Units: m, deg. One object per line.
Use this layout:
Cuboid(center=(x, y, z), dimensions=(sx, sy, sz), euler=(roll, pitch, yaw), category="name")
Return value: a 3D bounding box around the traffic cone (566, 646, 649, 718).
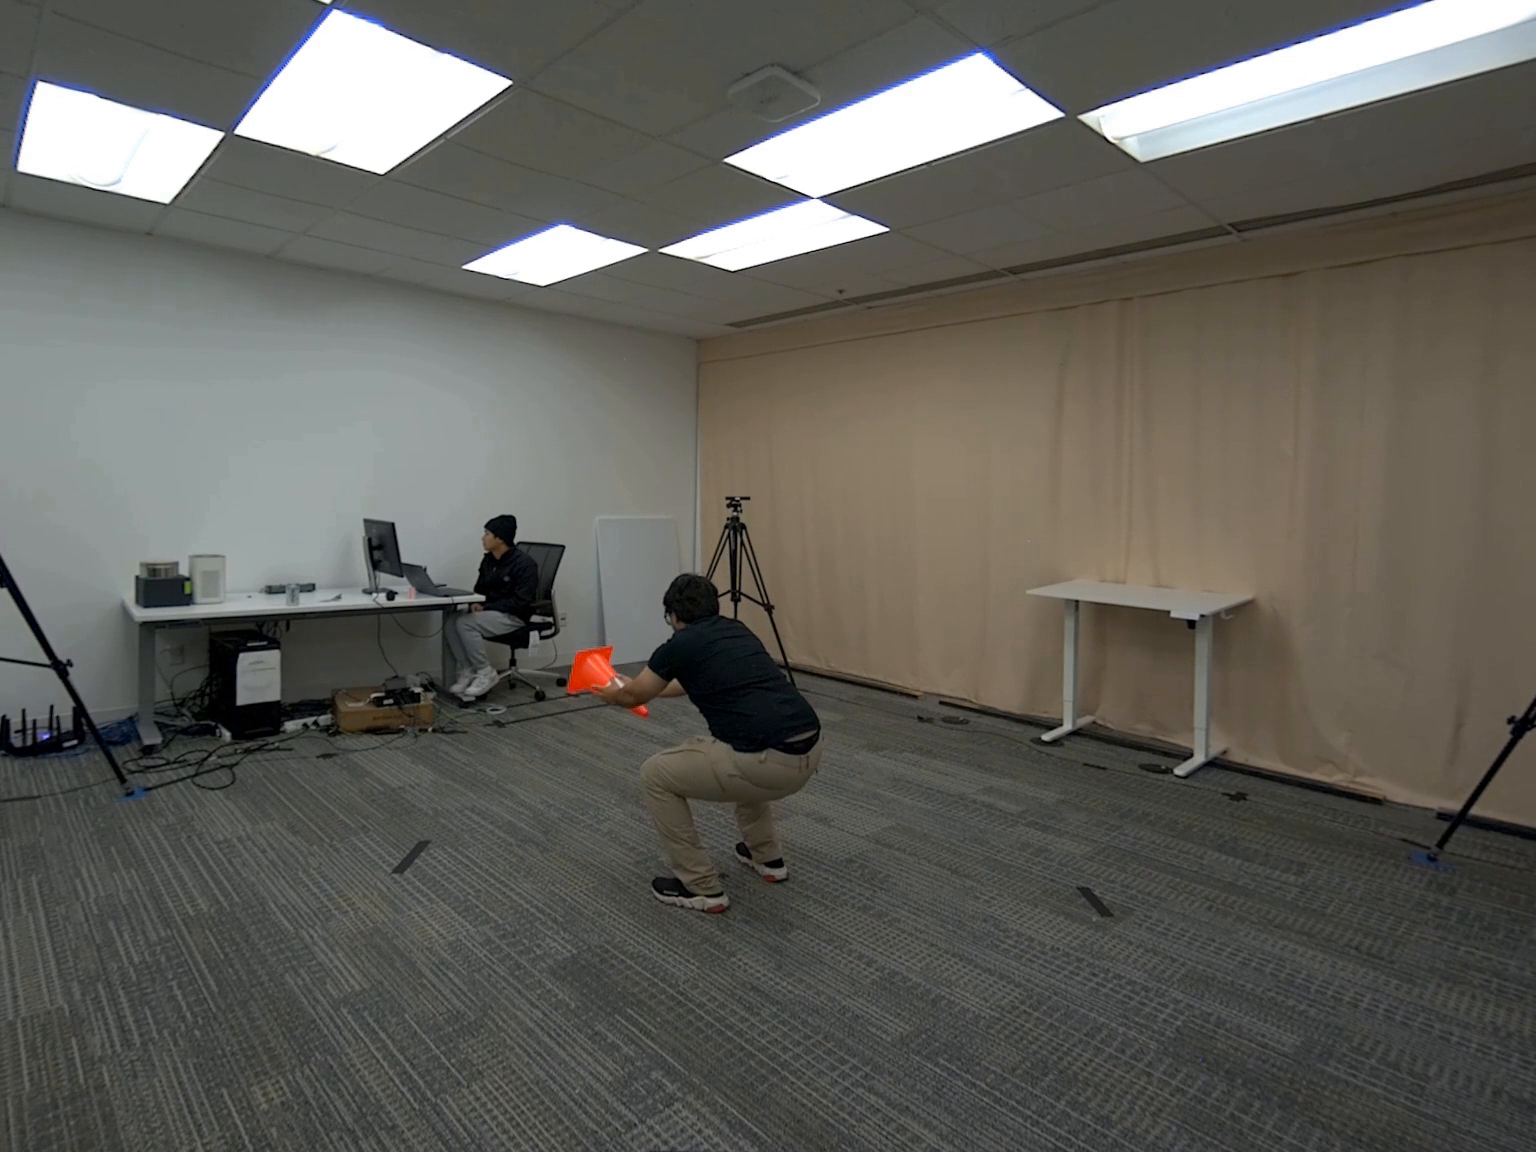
Cuboid(center=(-0.637, 0.464, 3.465), dimensions=(0.395, 0.202, 0.200), euler=(29, 21, 37), category="traffic cone")
